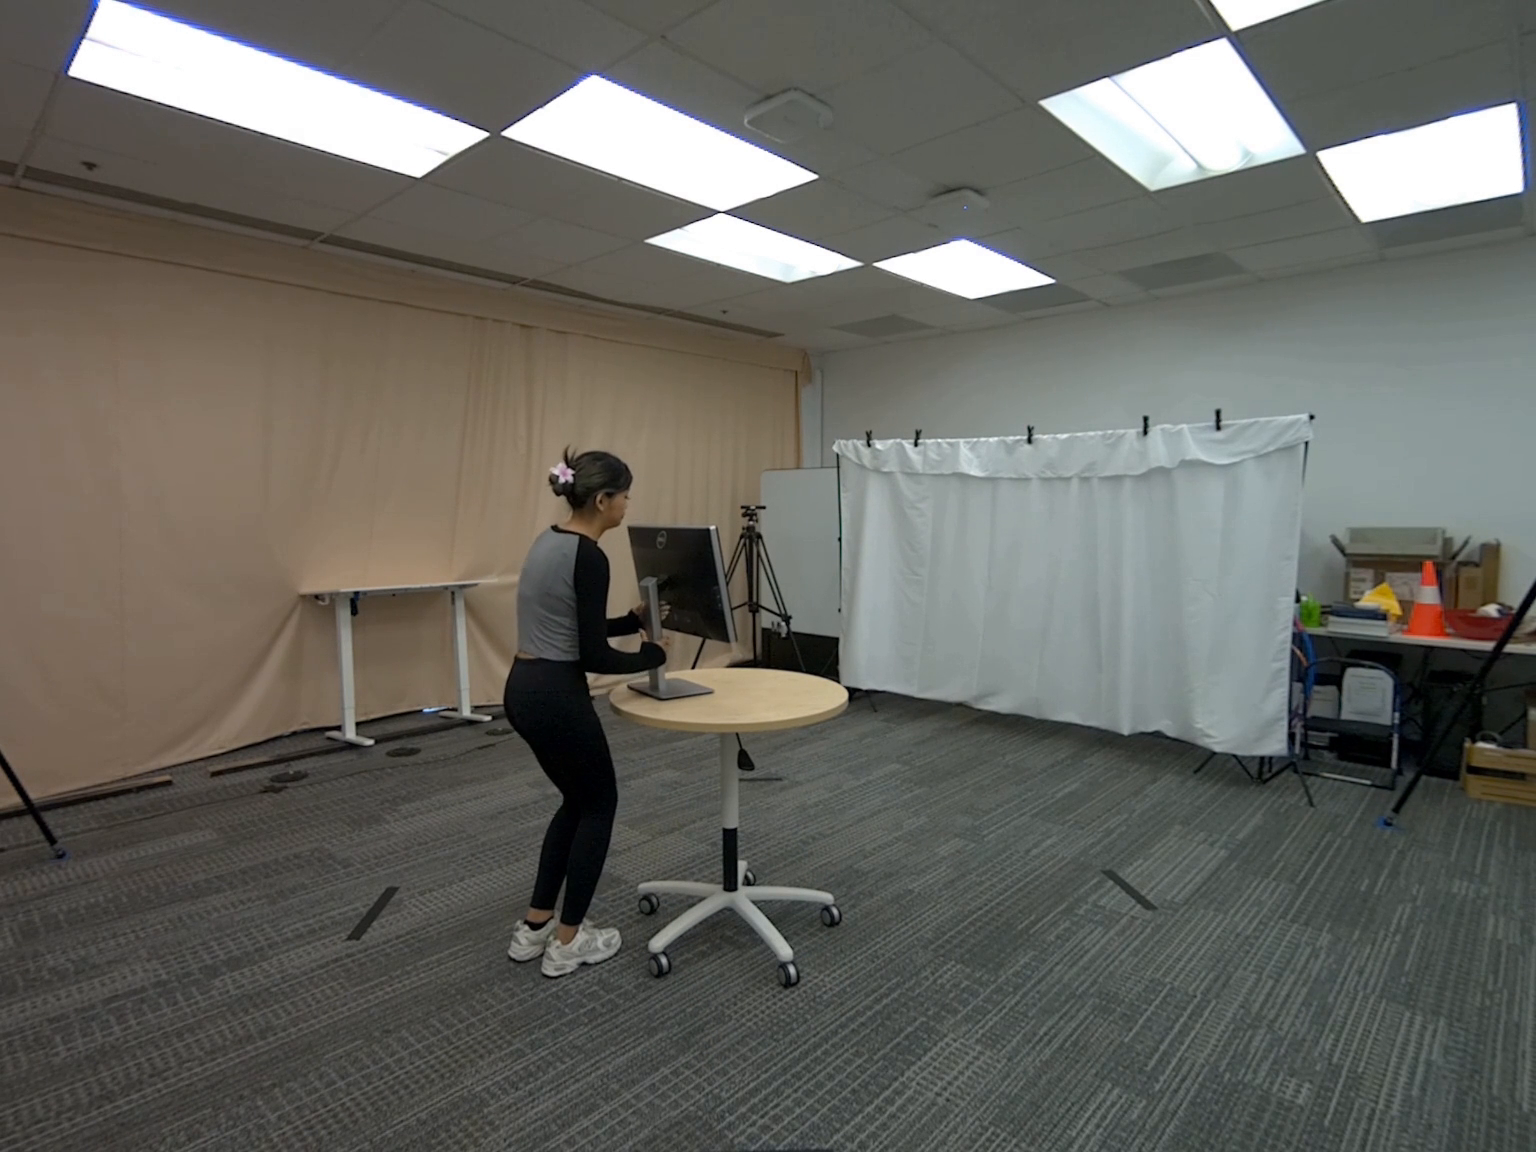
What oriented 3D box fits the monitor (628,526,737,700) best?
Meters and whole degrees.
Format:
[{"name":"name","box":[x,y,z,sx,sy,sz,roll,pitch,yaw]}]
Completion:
[{"name":"monitor","box":[-0.320,0.109,2.735,0.181,0.522,0.556,-1,4,-36]}]
